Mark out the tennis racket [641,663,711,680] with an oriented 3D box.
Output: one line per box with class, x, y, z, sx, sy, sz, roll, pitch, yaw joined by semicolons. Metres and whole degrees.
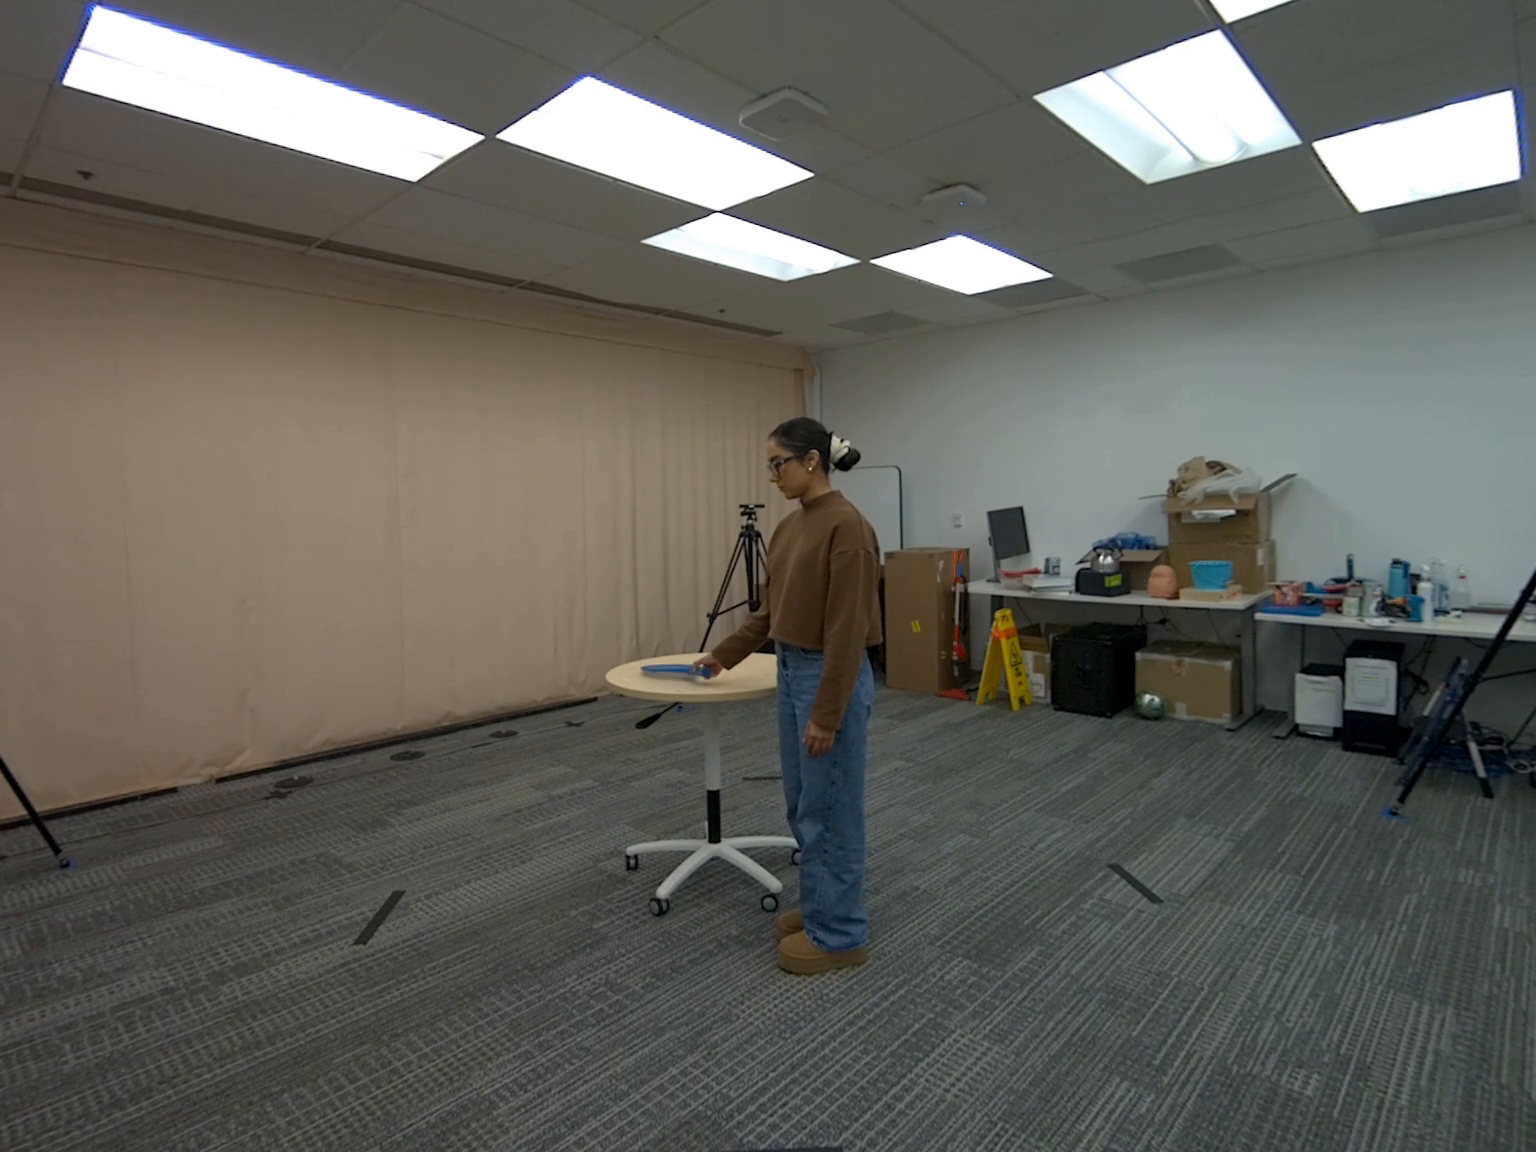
tennis racket;-0.319;0.335;3.012;0.208;0.032;0.444;-2;0;-30
